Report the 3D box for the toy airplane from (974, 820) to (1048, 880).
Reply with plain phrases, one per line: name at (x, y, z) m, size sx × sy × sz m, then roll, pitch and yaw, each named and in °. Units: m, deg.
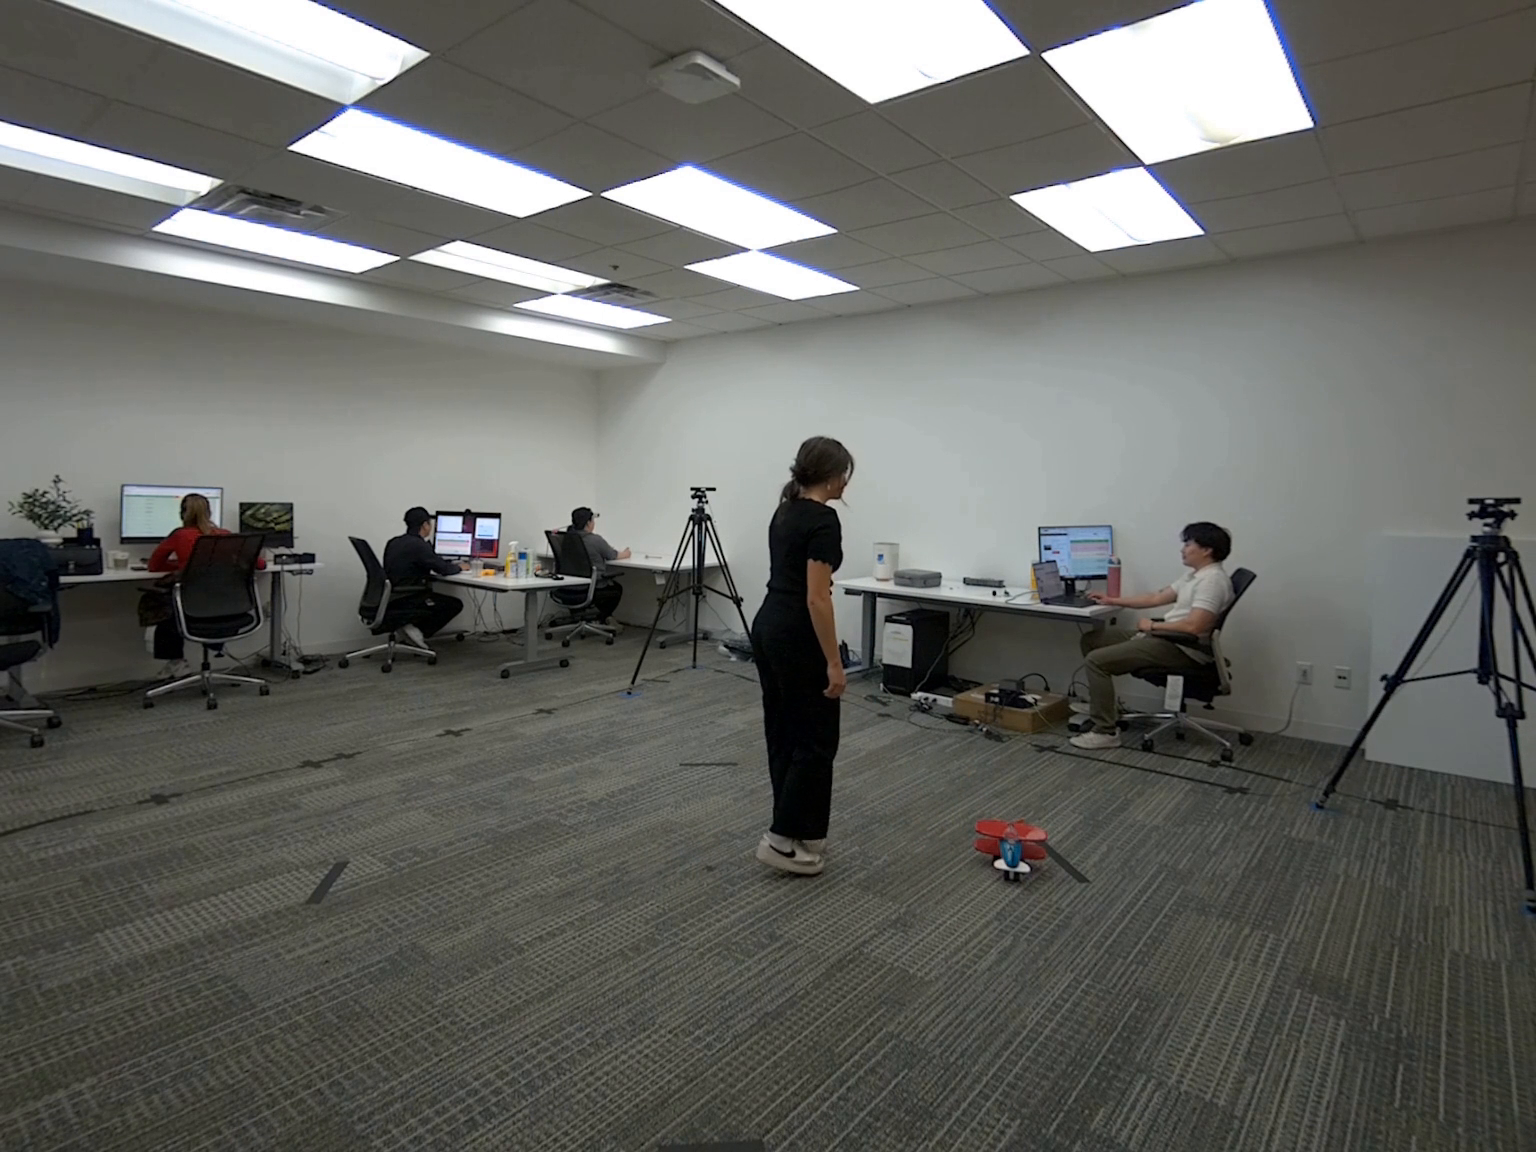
toy airplane at (0.918, 1.020, 3.156) m, size 0.248 × 0.156 × 0.264 m, roll 0°, pitch 4°, yaw -14°
